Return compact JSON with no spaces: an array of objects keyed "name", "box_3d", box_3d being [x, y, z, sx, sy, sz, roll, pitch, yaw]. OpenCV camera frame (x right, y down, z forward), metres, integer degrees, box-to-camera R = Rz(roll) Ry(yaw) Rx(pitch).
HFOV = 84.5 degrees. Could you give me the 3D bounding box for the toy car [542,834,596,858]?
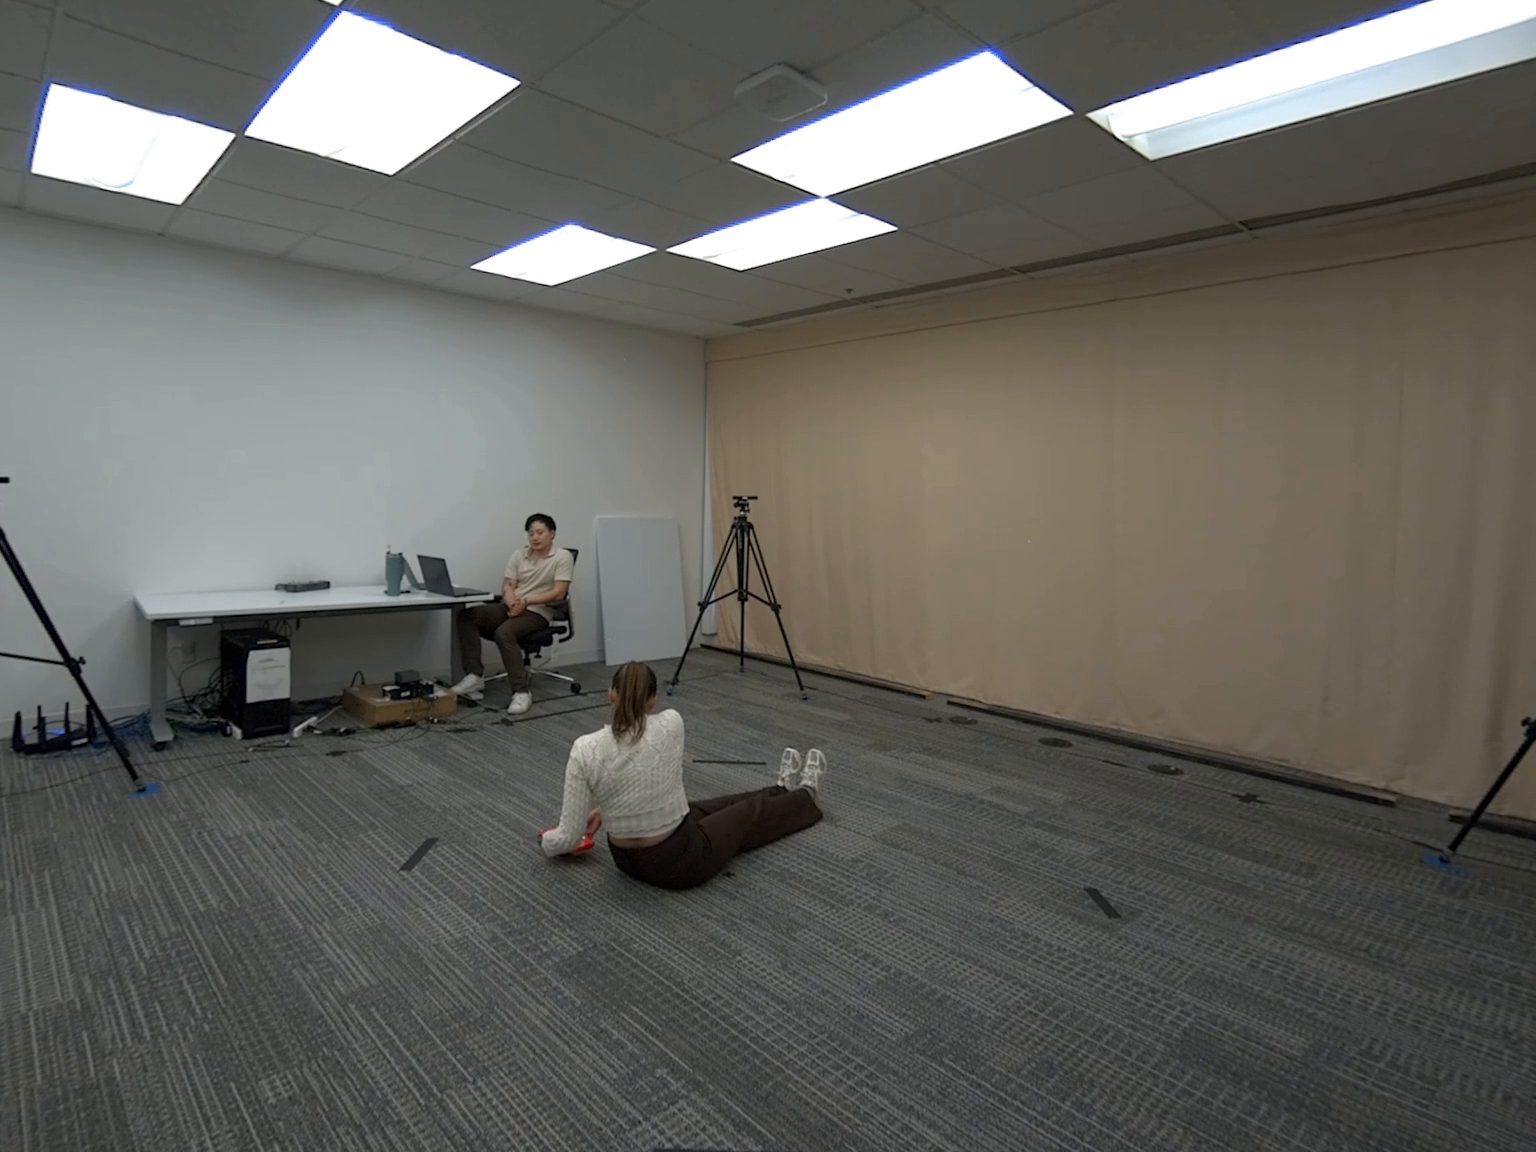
[{"name":"toy car","box_3d":[-0.770,1.017,3.242,0.260,0.083,0.127,-7,-4,42]}]
